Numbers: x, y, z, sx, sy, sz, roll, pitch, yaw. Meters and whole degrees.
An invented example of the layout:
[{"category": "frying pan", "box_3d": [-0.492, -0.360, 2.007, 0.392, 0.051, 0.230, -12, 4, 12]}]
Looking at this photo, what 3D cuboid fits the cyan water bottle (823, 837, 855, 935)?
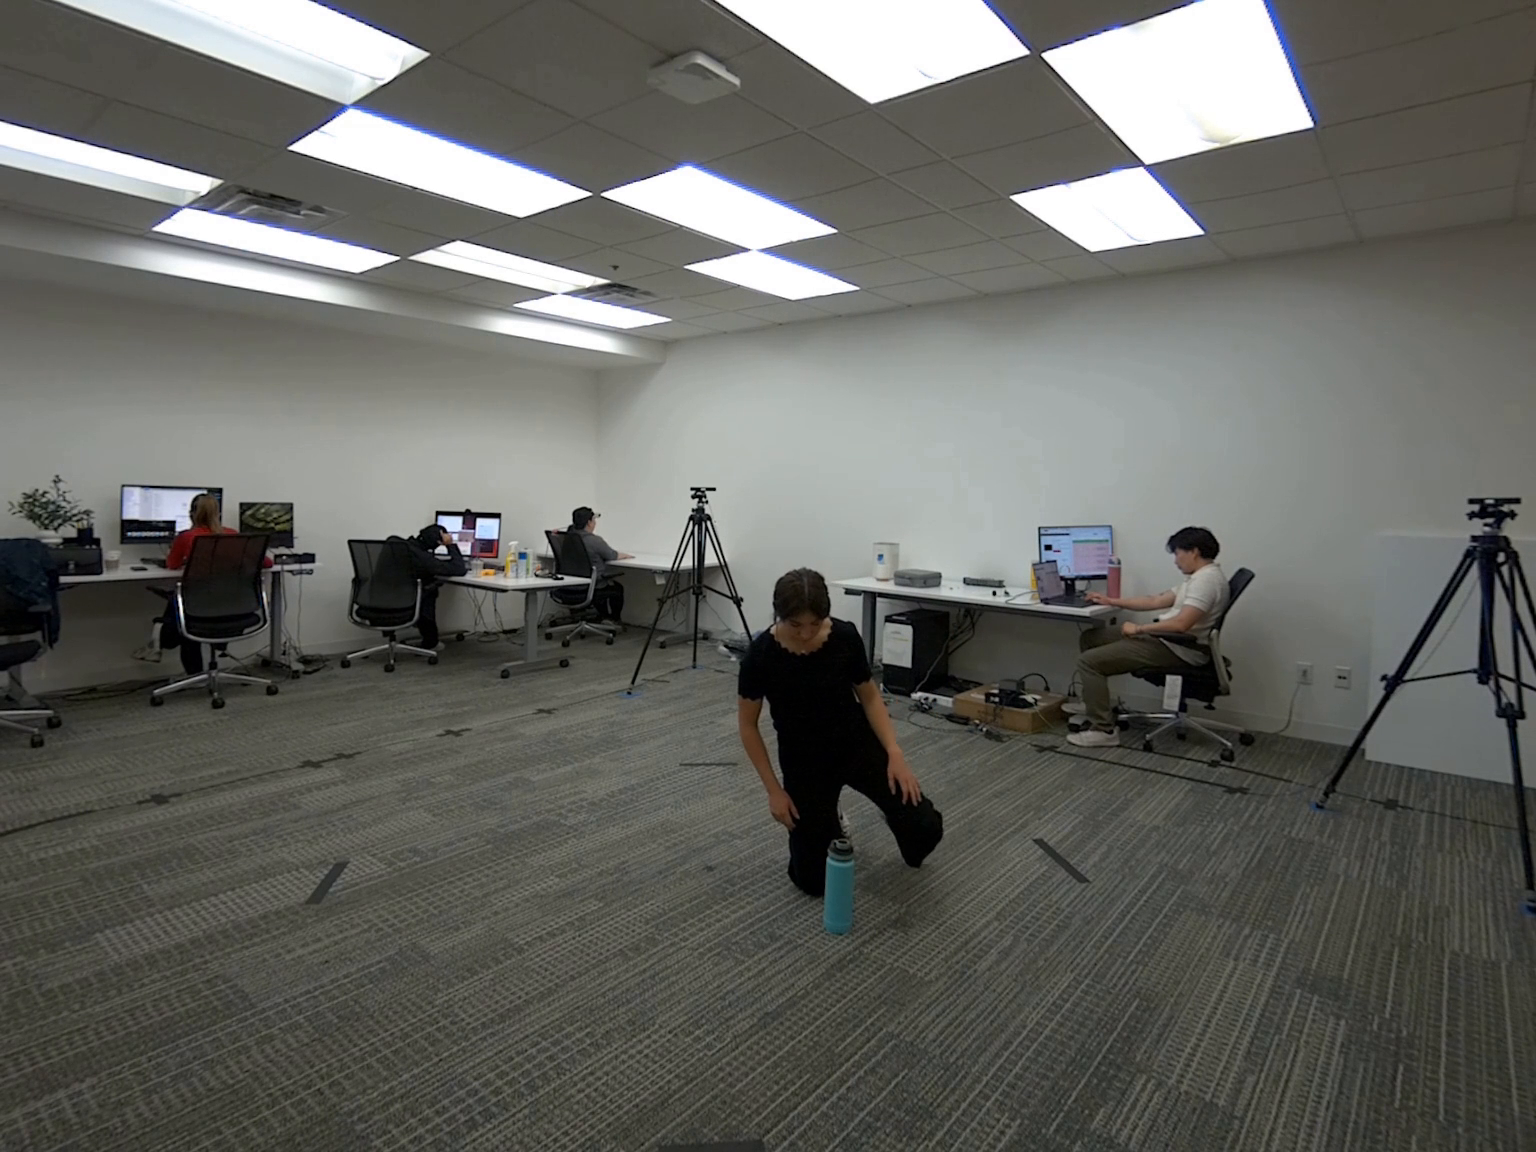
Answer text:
[{"category": "cyan water bottle", "box_3d": [0.227, 0.977, 2.712, 0.092, 0.283, 0.093, 3, 2, -2]}]
